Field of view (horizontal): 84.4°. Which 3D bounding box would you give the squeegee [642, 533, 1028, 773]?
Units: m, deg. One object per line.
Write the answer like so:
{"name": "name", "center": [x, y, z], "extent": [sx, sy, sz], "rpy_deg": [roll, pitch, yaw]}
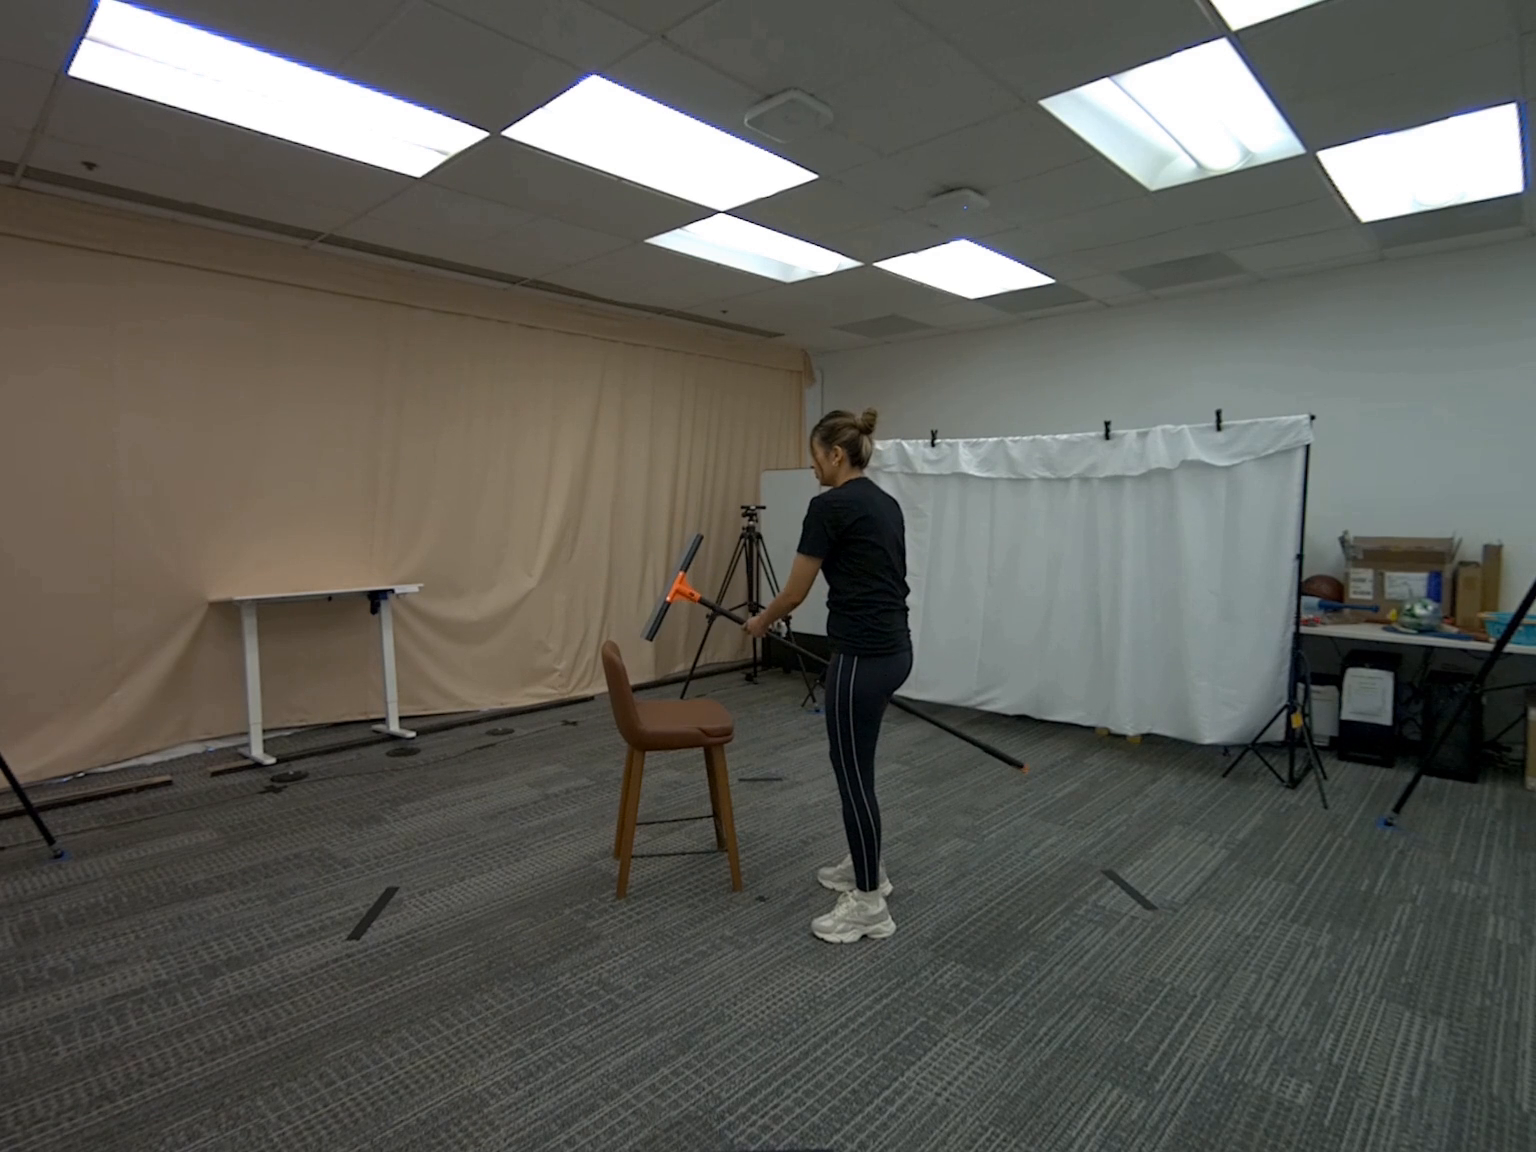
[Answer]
{"name": "squeegee", "center": [0.302, 0.384, 3.102], "extent": [1.529, 0.438, 0.053], "rpy_deg": [28, -11, -4]}
